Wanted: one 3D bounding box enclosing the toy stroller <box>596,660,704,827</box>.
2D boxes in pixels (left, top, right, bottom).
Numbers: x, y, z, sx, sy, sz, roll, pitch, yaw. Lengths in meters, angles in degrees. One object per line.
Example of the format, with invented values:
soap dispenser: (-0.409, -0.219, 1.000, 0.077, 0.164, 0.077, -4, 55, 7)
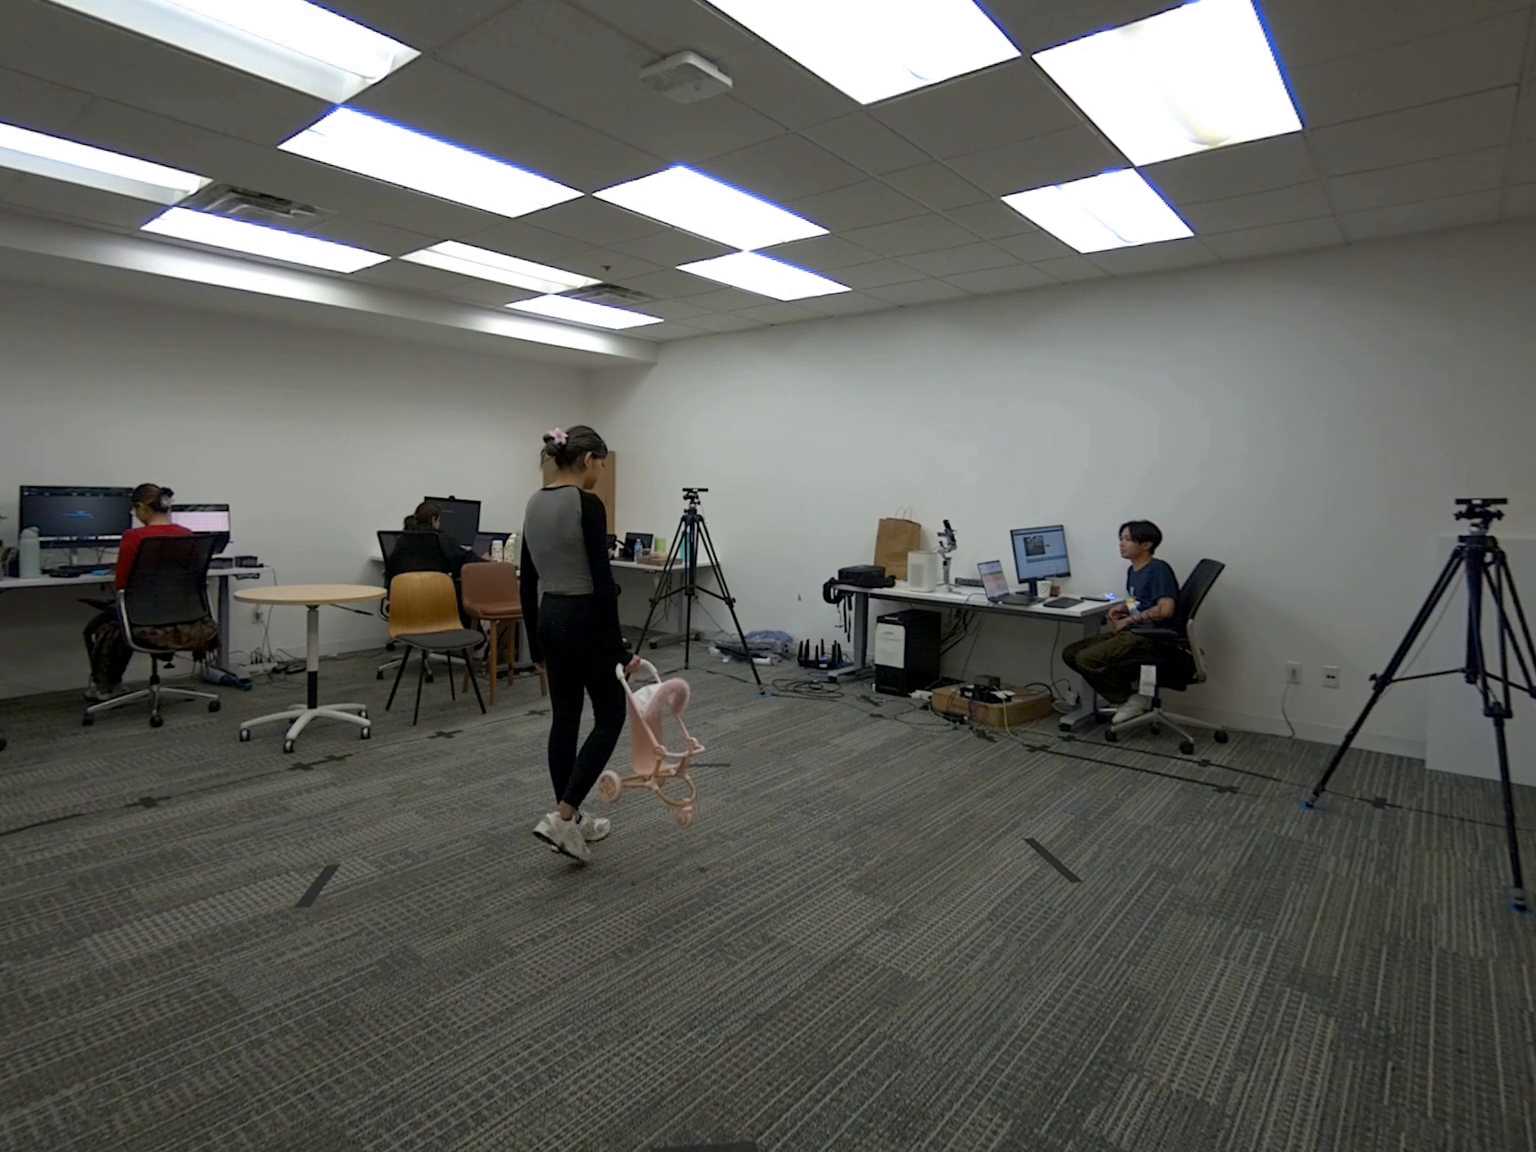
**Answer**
toy stroller: (-0.394, 0.590, 2.999, 0.353, 0.535, 0.272, 4, -1, 37)
